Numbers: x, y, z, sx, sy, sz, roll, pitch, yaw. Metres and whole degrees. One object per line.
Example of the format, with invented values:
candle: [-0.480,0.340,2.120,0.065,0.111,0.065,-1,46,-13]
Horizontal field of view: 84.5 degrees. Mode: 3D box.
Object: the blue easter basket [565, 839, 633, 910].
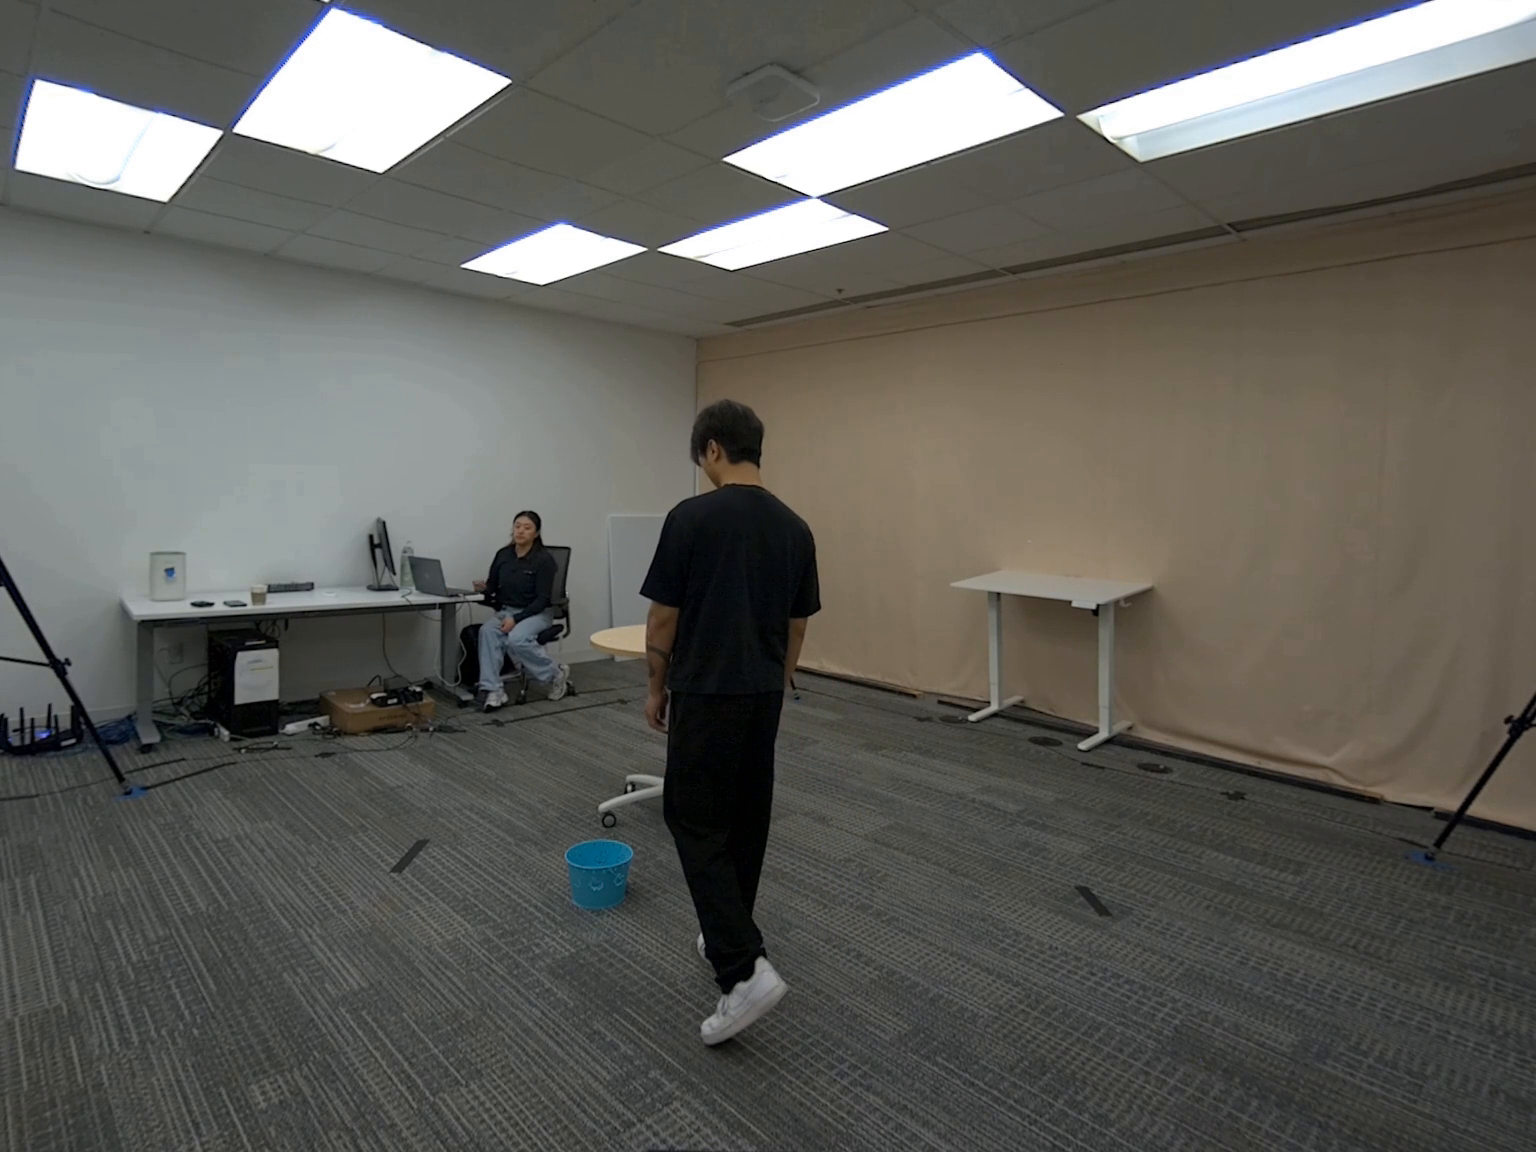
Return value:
blue easter basket: [-0.587,1.034,2.909,0.243,0.155,0.244,1,5,-1]
